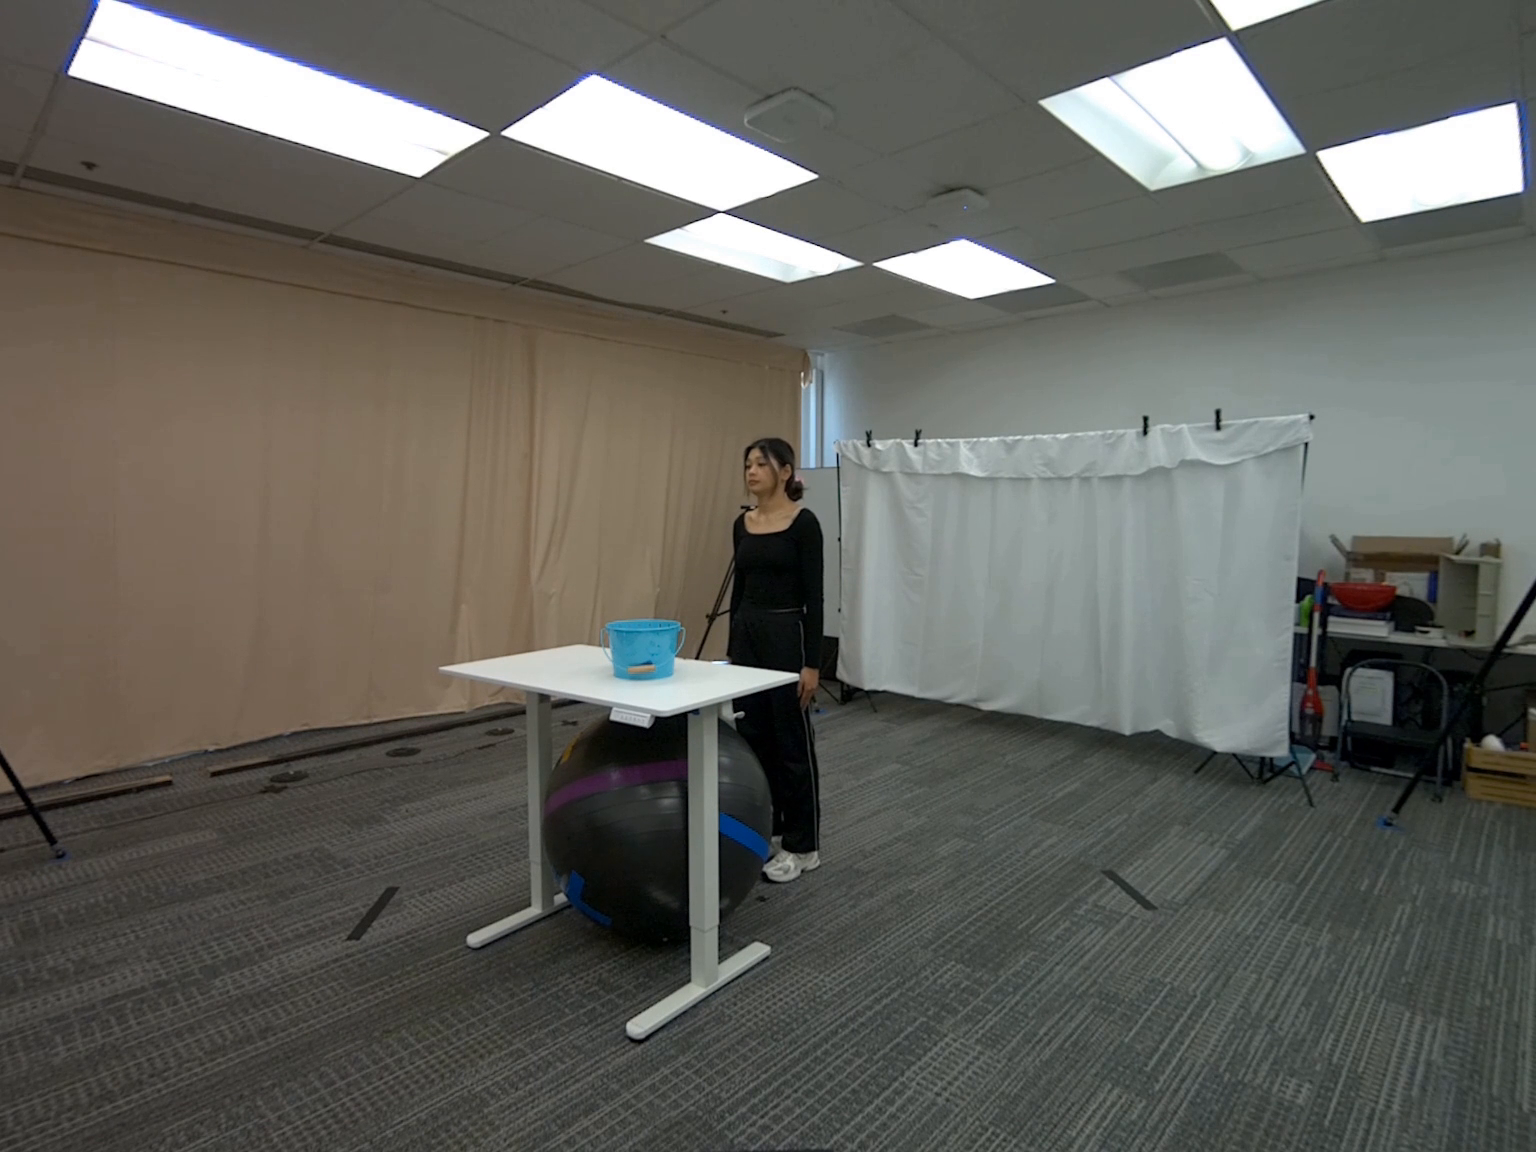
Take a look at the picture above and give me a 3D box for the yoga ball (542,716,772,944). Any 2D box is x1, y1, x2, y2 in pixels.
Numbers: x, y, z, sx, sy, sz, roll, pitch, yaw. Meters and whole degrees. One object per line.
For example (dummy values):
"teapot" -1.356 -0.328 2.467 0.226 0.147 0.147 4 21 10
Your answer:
"yoga ball" -0.373 0.800 2.778 0.757 0.756 0.761 0 4 -2
